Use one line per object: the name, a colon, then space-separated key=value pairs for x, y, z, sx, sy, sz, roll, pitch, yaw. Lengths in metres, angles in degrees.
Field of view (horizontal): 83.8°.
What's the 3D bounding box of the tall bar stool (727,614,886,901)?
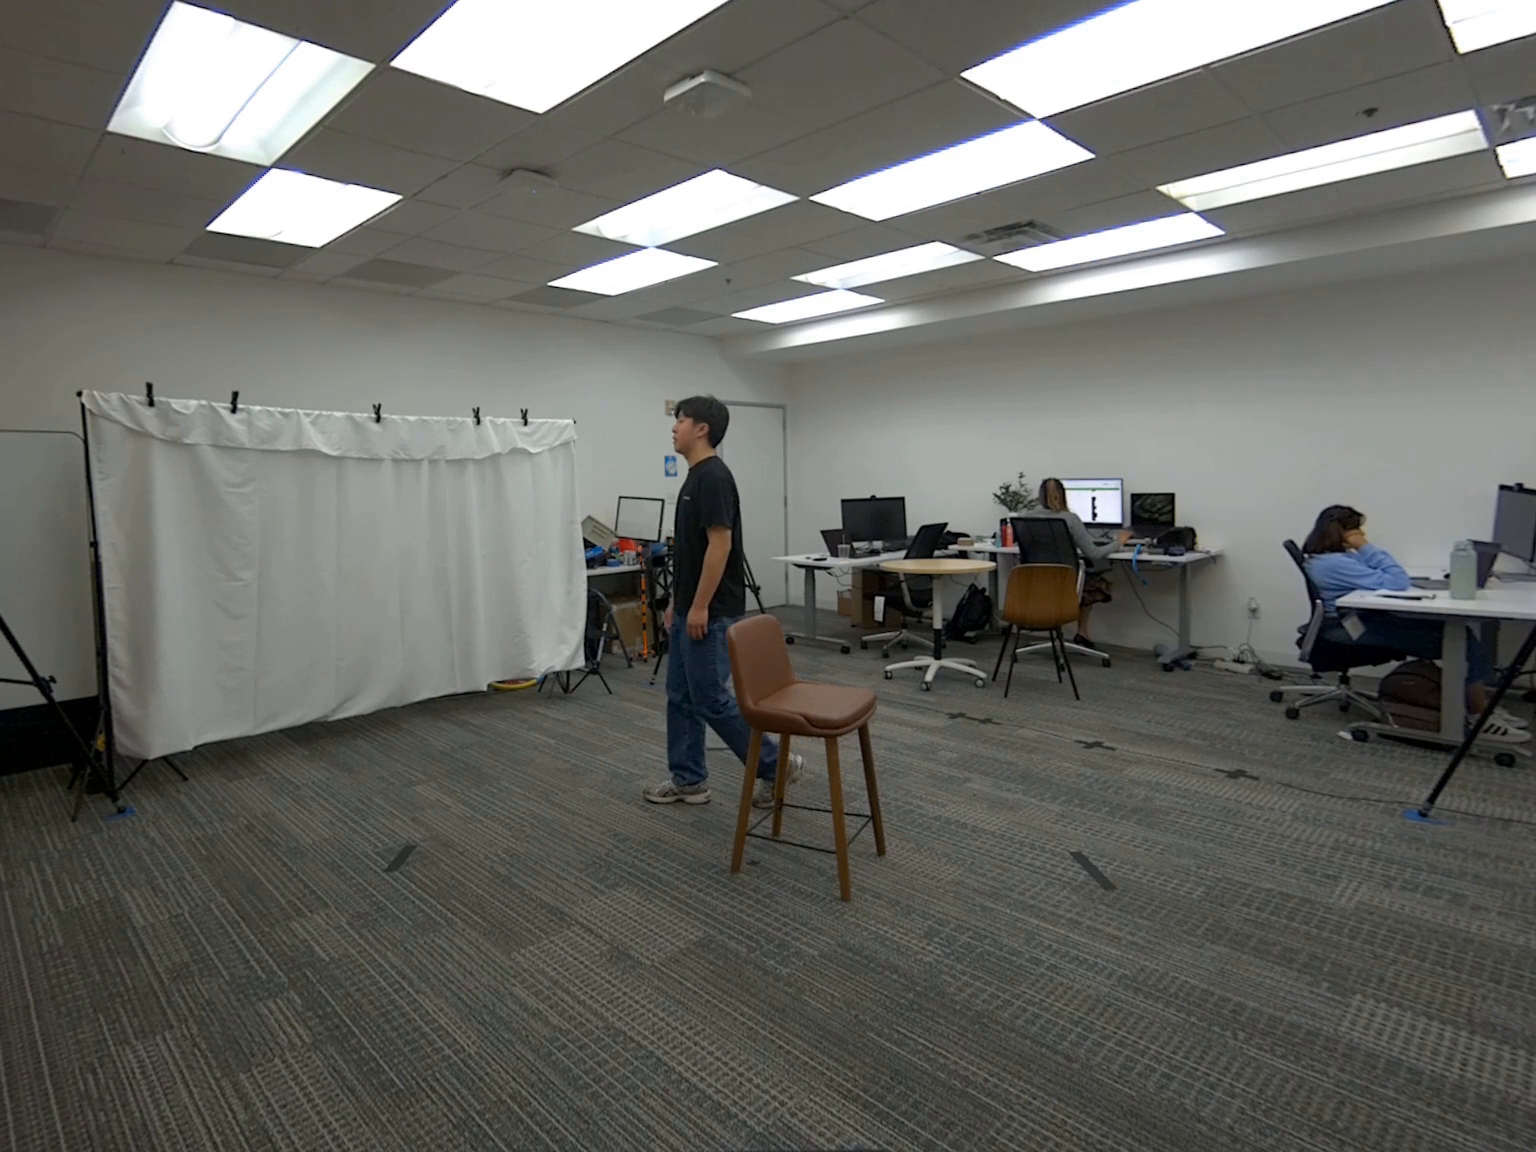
tall bar stool: x=0.141 y=0.607 z=3.071 sx=0.479 sy=0.888 sz=0.446 roll=-1 pitch=3 yaw=28
